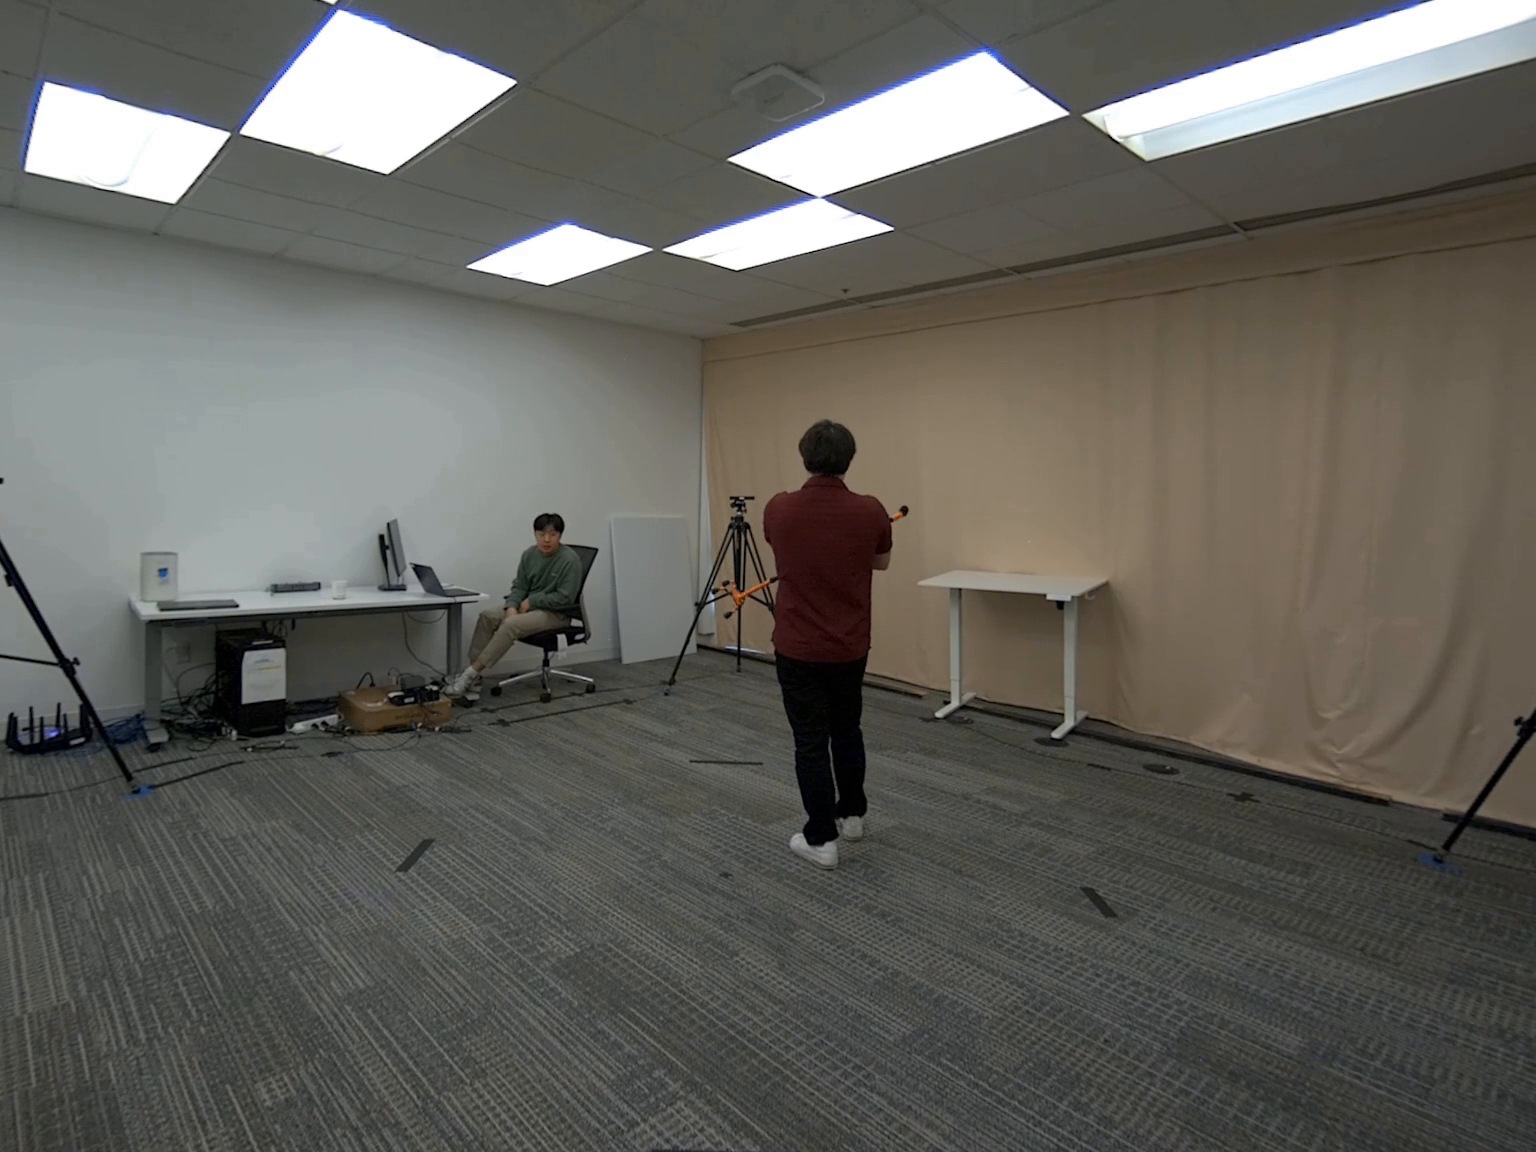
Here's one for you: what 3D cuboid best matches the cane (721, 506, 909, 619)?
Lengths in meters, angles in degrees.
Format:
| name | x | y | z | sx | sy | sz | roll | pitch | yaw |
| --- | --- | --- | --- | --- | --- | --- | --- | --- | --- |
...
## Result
| name | x | y | z | sx | sy | sz | roll | pitch | yaw |
| --- | --- | --- | --- | --- | --- | --- | --- | --- | --- |
| cane | 0.197 | -0.085 | 3.687 | 0.912 | 0.151 | 0.206 | -28 | 5 | 15 |
